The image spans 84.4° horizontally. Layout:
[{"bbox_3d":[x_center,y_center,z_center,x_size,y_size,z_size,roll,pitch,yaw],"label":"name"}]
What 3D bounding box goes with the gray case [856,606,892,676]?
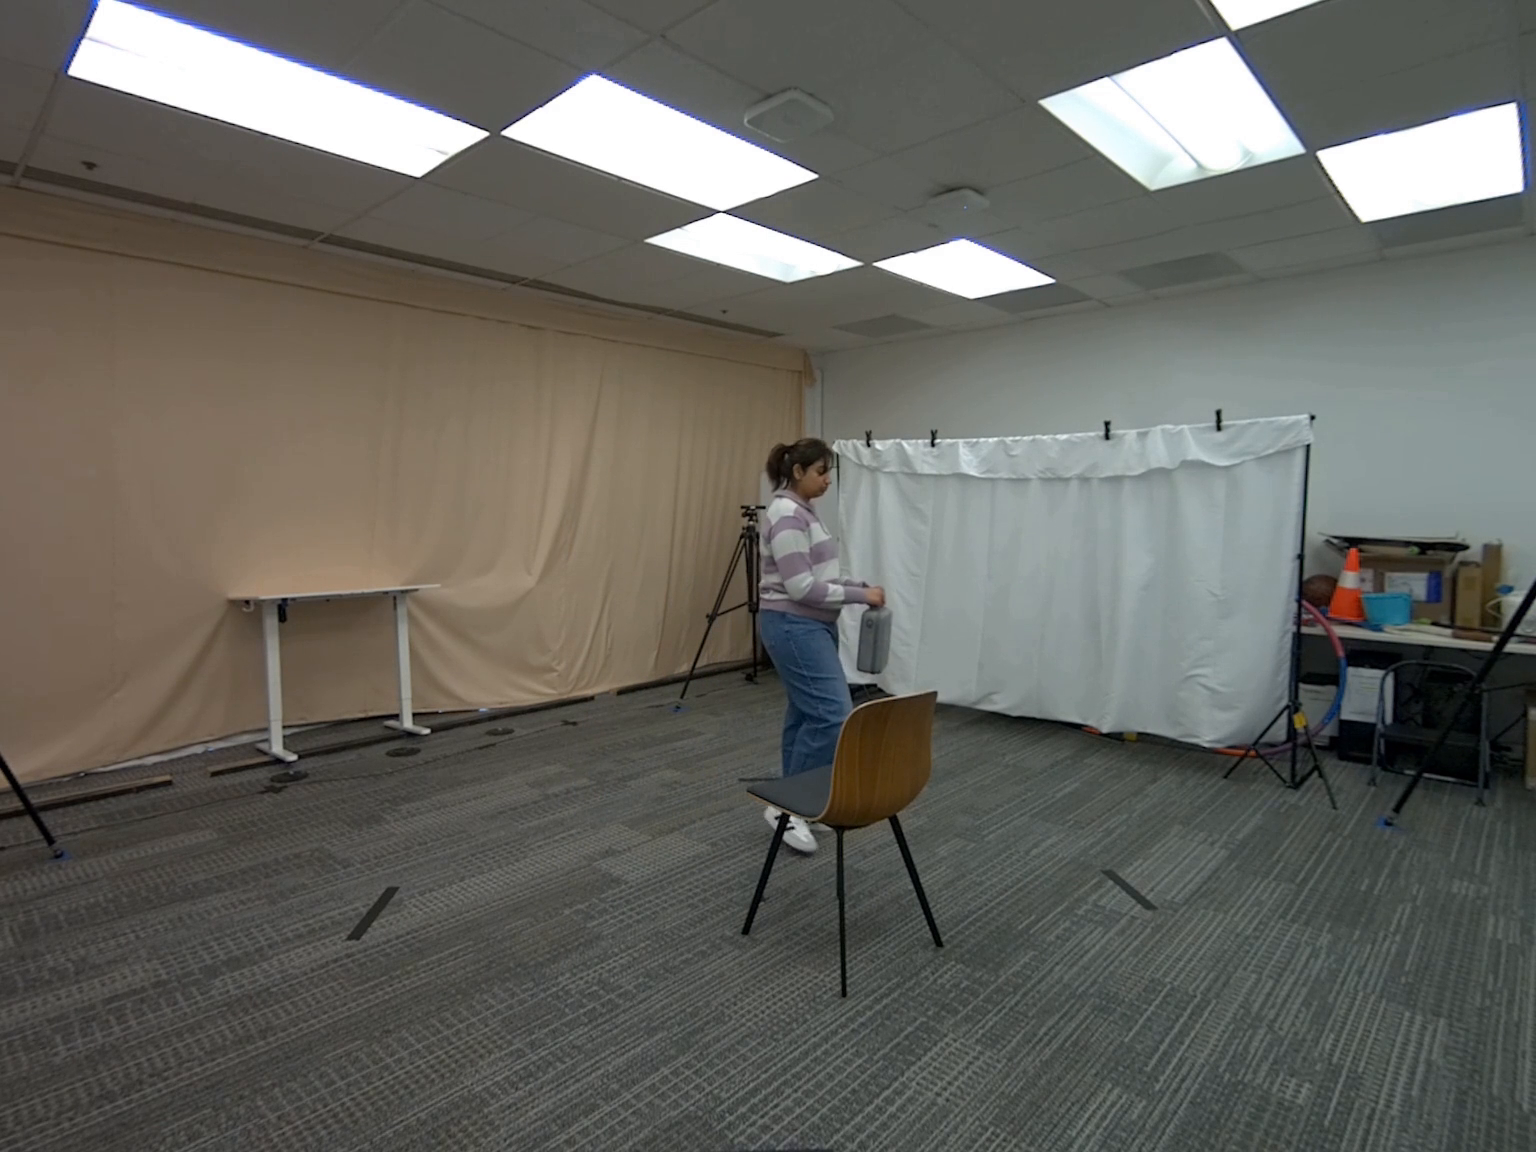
[{"bbox_3d":[0.433,0.260,3.456,0.106,0.260,0.254,6,2,10],"label":"gray case"}]
